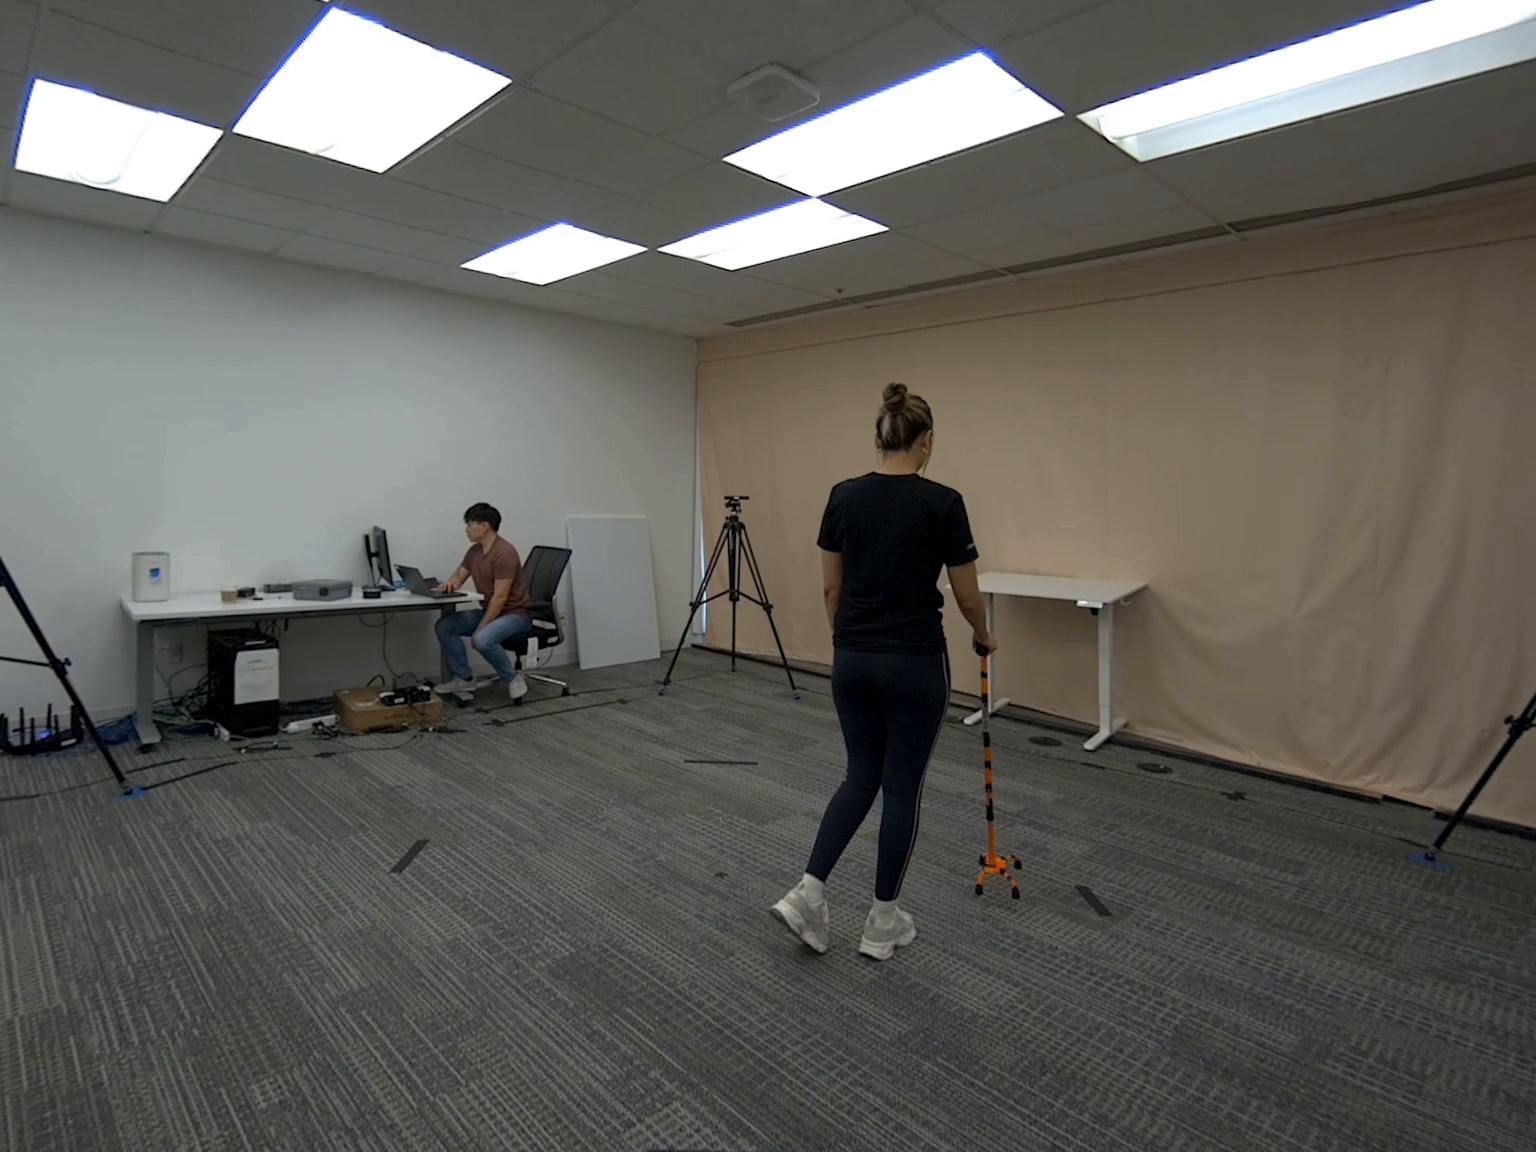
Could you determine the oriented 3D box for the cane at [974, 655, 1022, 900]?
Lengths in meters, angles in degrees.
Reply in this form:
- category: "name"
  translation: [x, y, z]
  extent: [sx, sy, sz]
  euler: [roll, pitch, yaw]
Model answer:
- category: "cane"
  translation: [0.761, 0.650, 2.891]
  extent: [0.154, 0.900, 0.205]
  euler: [-1, 12, 20]
